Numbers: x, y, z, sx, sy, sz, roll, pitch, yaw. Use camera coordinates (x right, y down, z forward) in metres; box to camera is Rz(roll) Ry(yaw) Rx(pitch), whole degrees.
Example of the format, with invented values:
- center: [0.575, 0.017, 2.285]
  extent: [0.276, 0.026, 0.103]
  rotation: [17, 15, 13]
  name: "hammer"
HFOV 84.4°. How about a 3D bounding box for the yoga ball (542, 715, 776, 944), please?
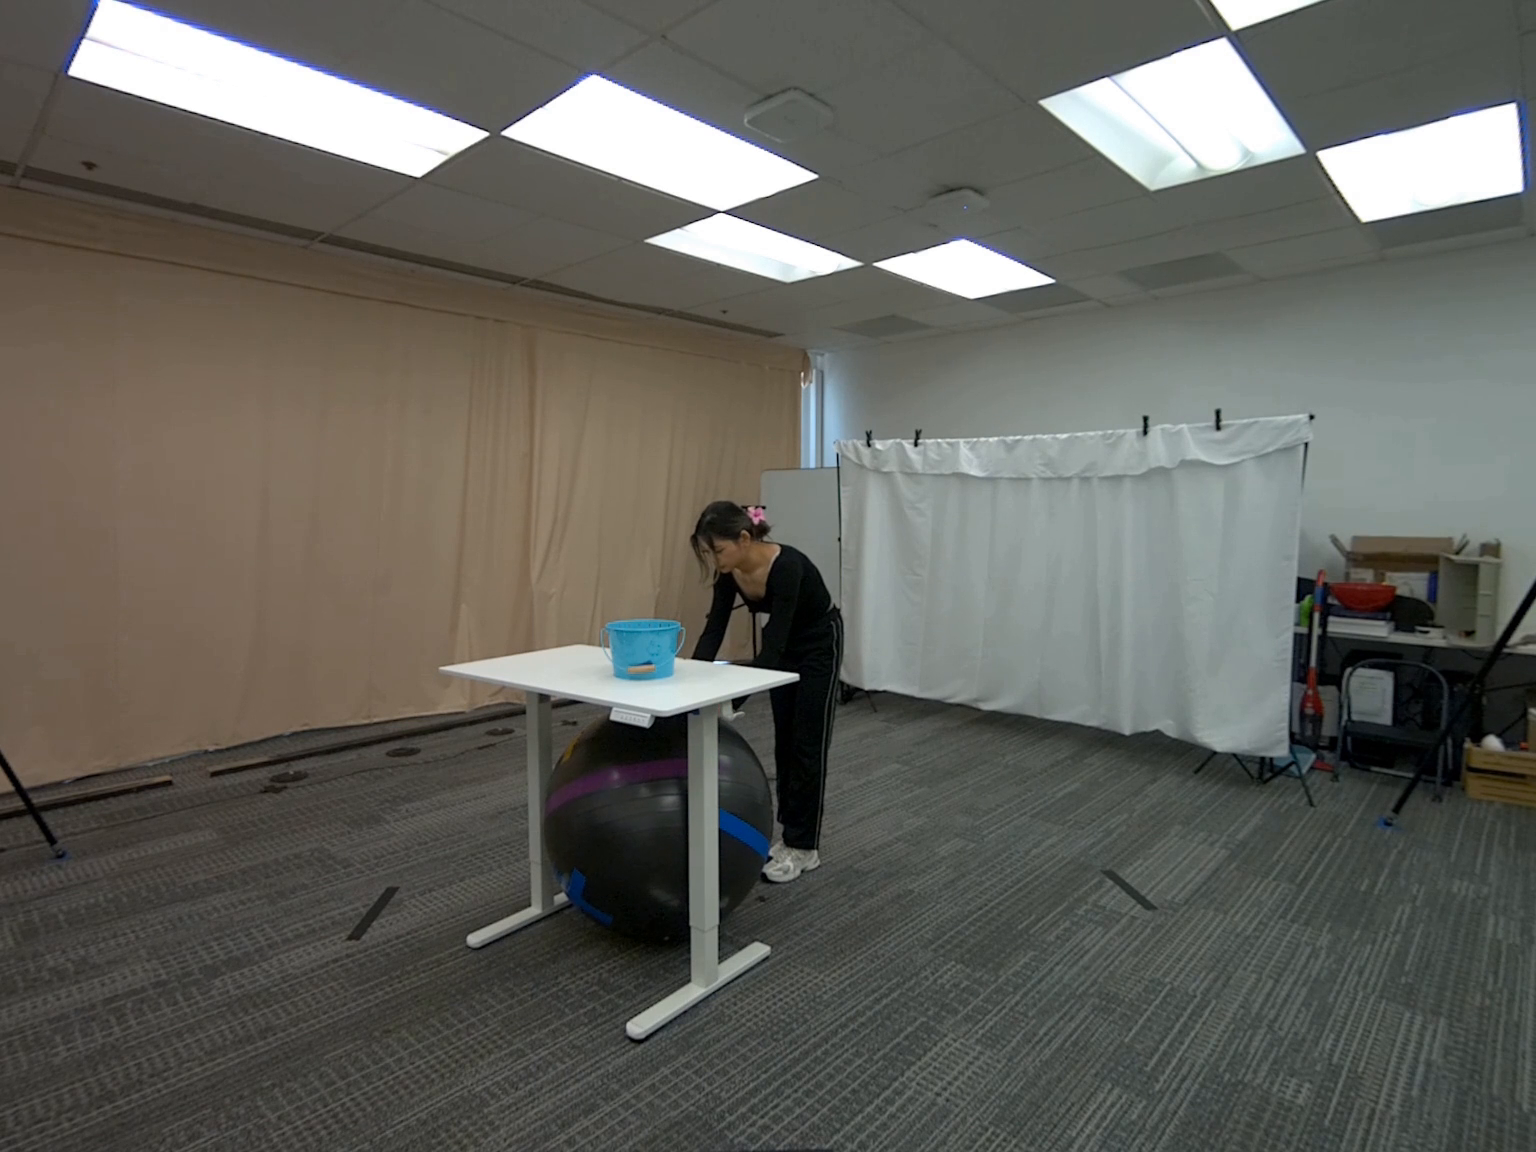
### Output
- center: [-0.366, 0.796, 2.790]
  extent: [0.757, 0.756, 0.761]
  rotation: [0, 4, -2]
  name: "yoga ball"
